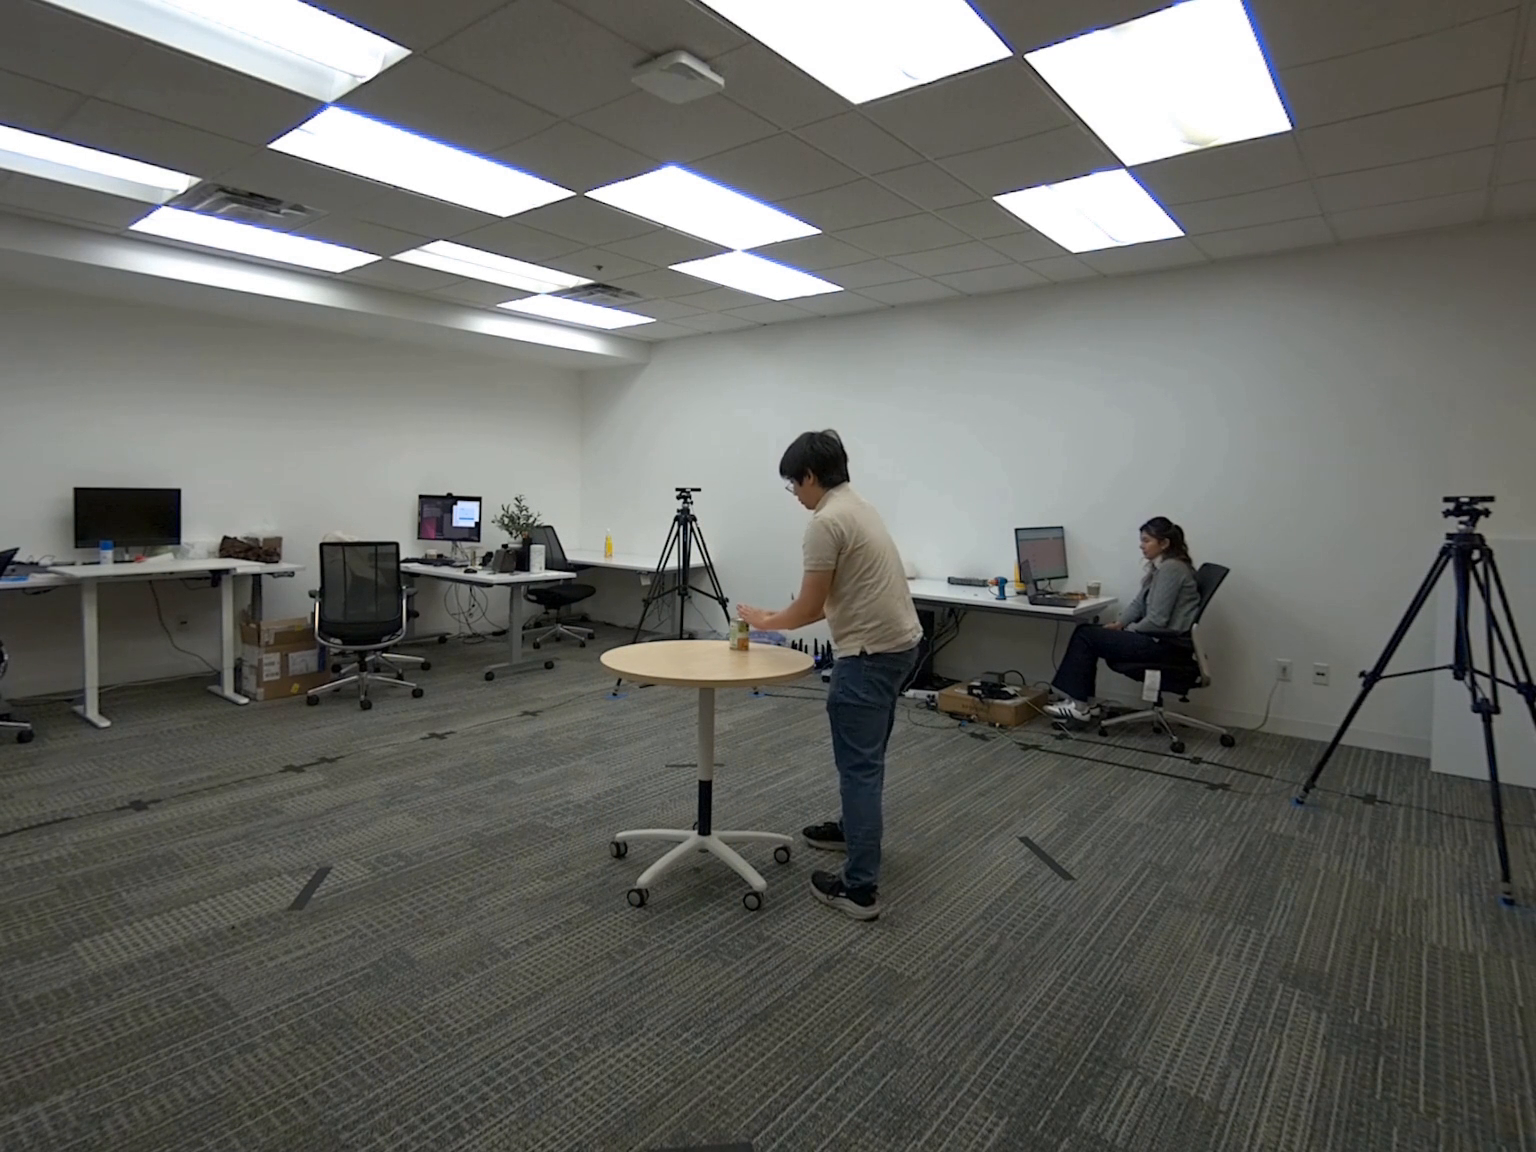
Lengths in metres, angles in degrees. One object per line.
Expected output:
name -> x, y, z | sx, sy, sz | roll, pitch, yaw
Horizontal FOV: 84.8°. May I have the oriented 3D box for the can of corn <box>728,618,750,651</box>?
can of corn -> -0.122, 0.223, 3.261 | 0.074, 0.111, 0.074 | 1, 3, -2
